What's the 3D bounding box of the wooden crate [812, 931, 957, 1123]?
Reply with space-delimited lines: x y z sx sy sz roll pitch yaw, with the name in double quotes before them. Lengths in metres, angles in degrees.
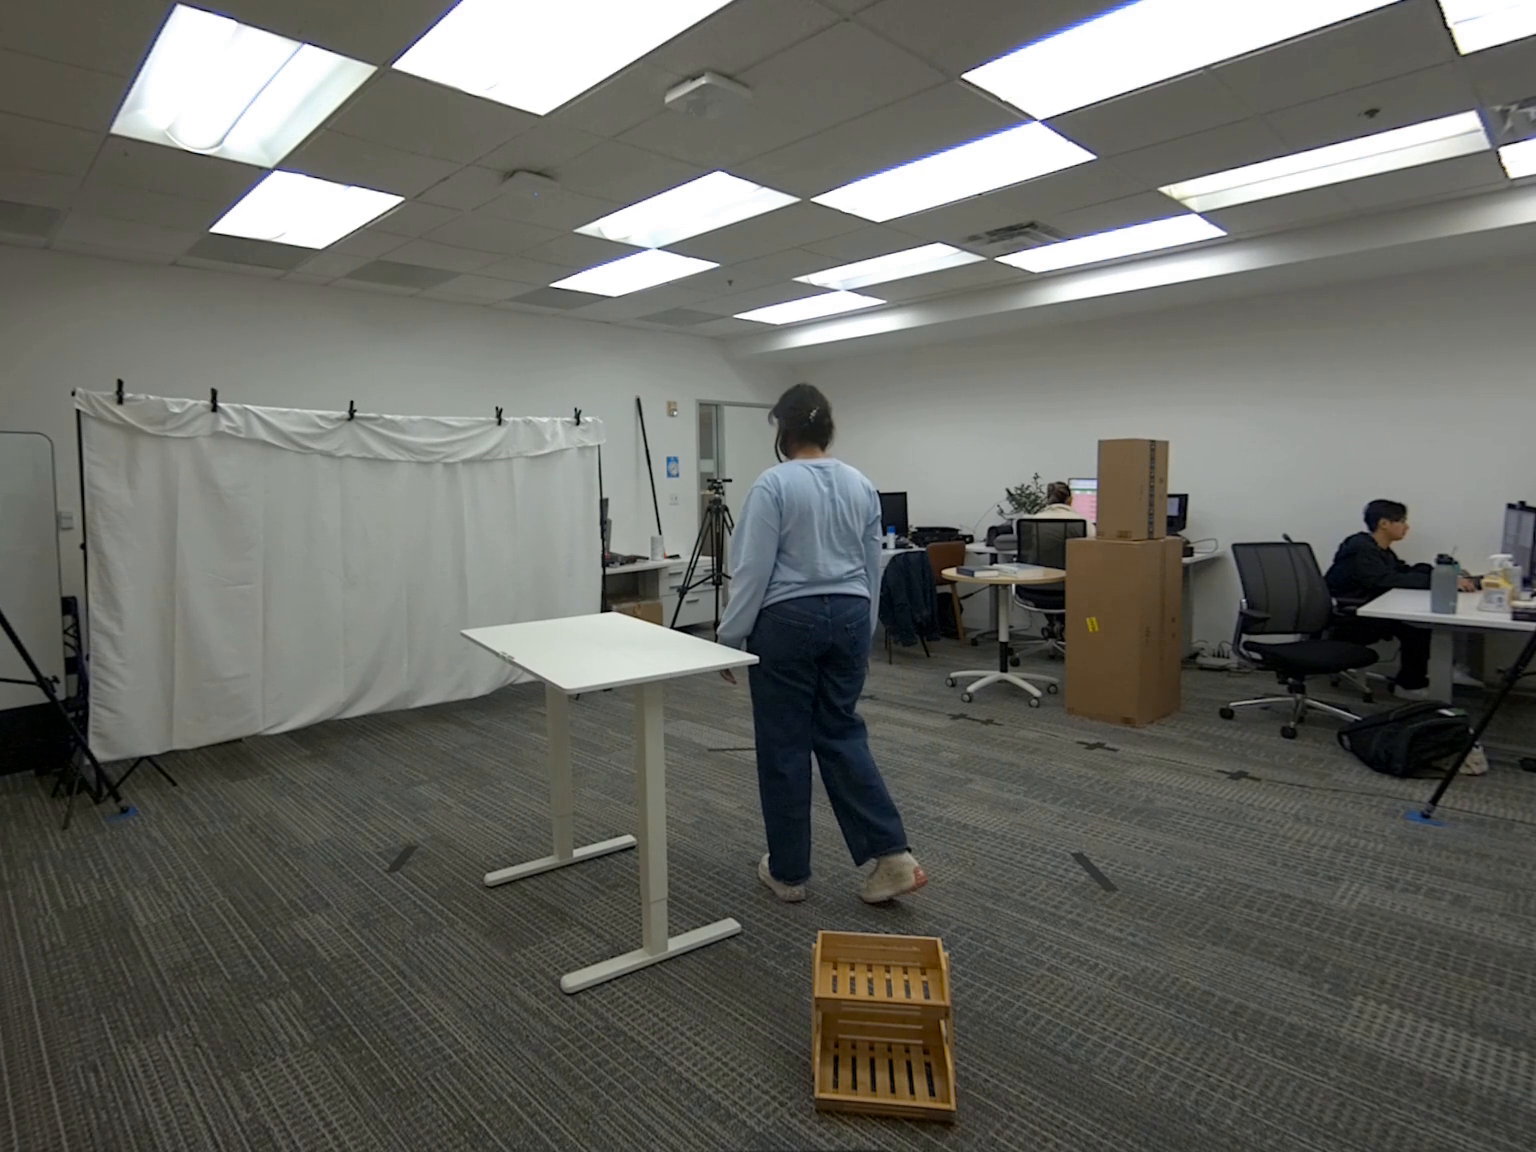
"wooden crate" 0.270 1.043 1.985 0.327 0.272 0.301 -1 4 6
